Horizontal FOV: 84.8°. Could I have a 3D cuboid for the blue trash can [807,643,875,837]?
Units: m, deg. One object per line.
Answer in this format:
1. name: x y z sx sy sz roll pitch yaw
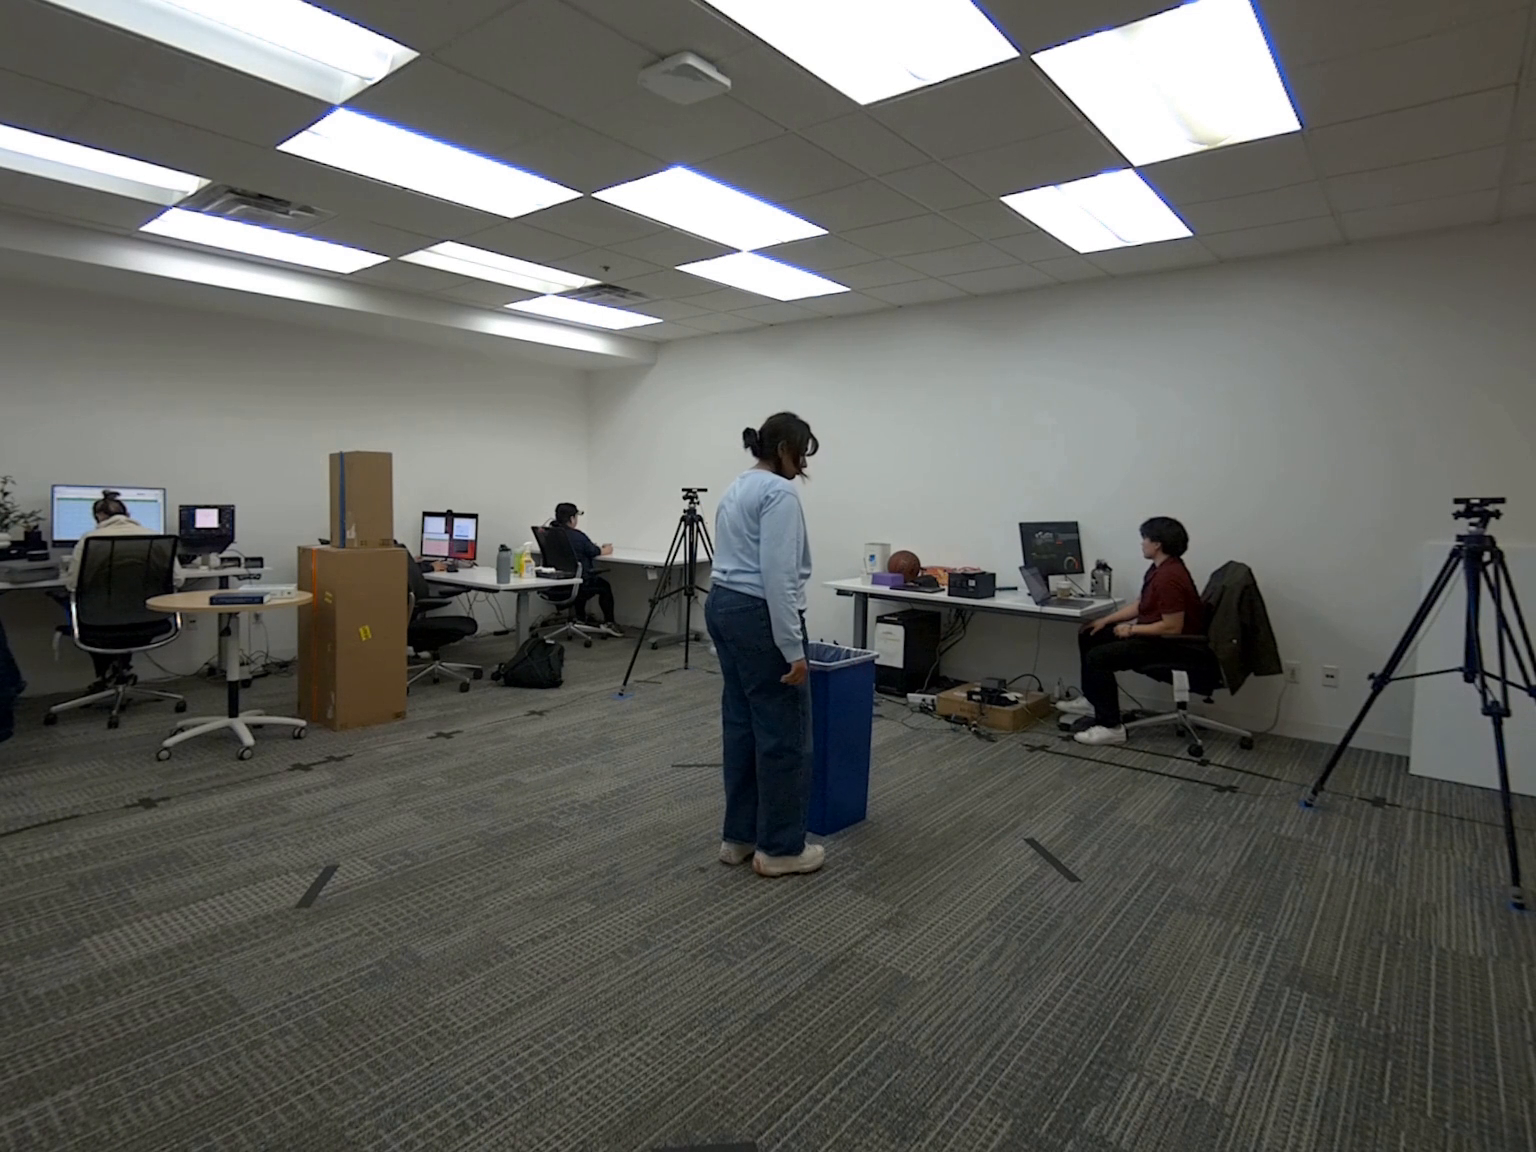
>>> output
1. blue trash can: 0.211 0.673 3.611 0.391 0.712 0.363 4 4 43
